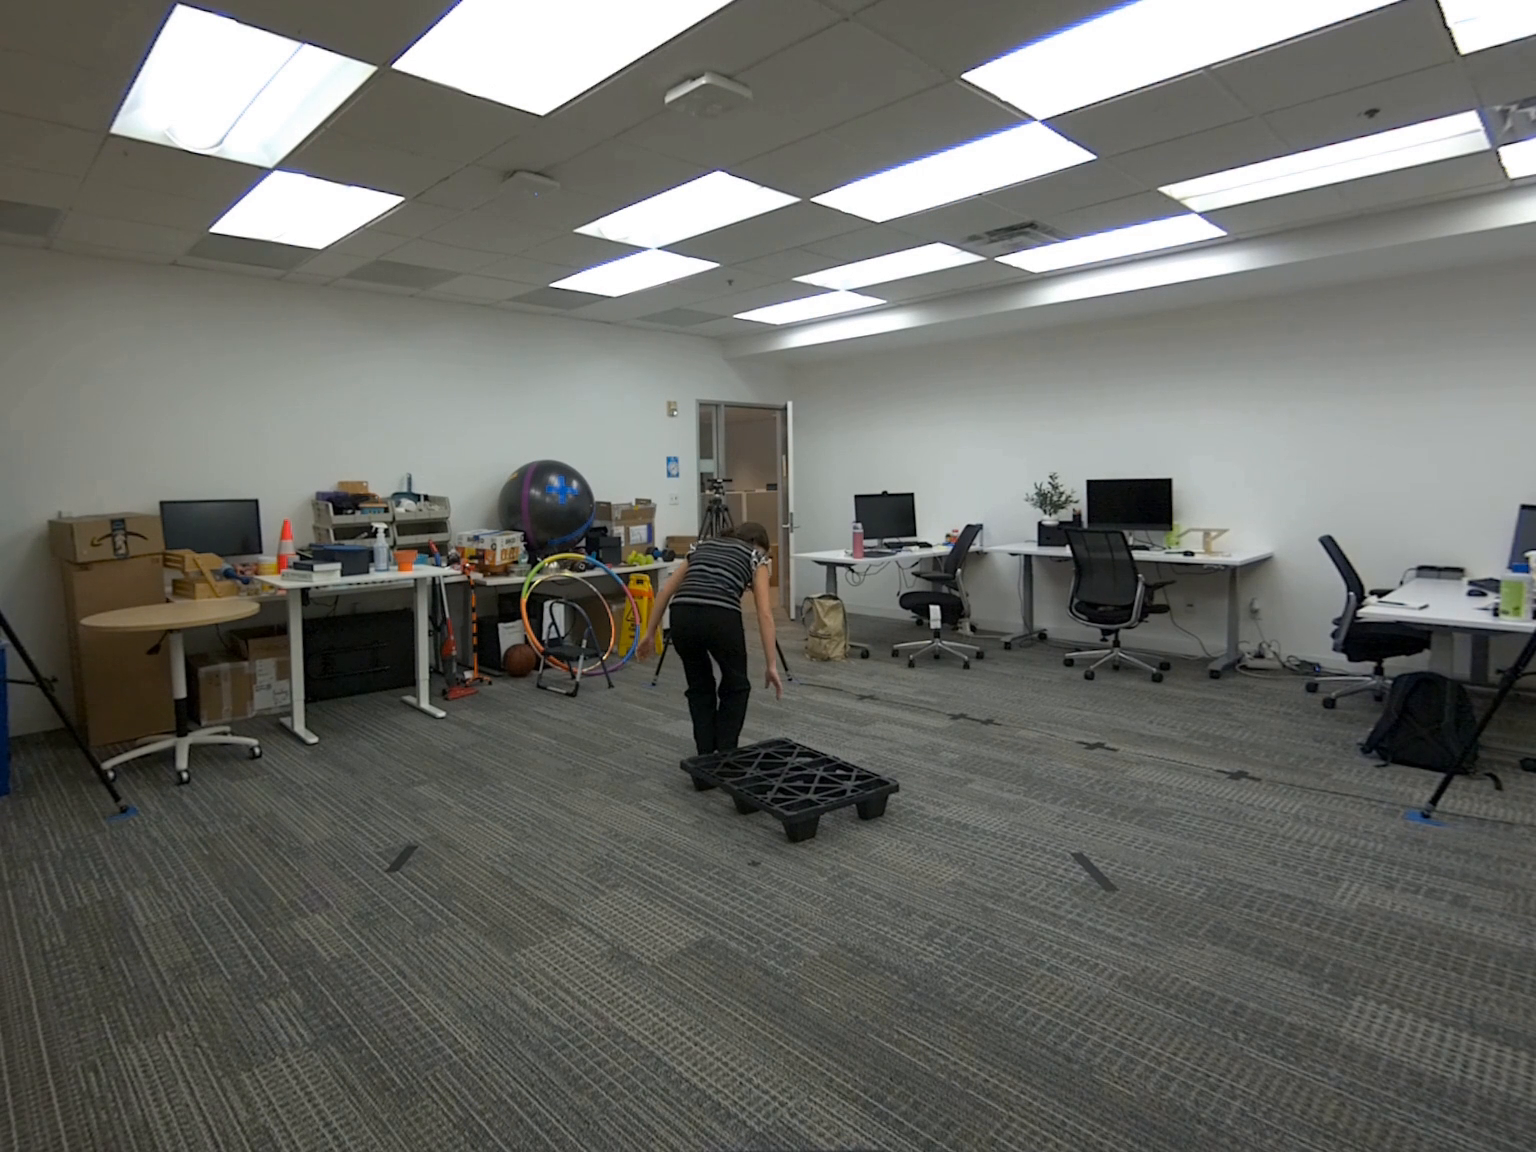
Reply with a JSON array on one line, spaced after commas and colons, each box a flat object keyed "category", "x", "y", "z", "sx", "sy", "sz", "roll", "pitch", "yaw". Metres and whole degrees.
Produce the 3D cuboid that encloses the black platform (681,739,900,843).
[{"category": "black platform", "x": 0.077, "y": 0.907, "z": 3.703, "sx": 0.590, "sy": 0.143, "sz": 0.830, "roll": -4, "pitch": 7, "yaw": -35}]
